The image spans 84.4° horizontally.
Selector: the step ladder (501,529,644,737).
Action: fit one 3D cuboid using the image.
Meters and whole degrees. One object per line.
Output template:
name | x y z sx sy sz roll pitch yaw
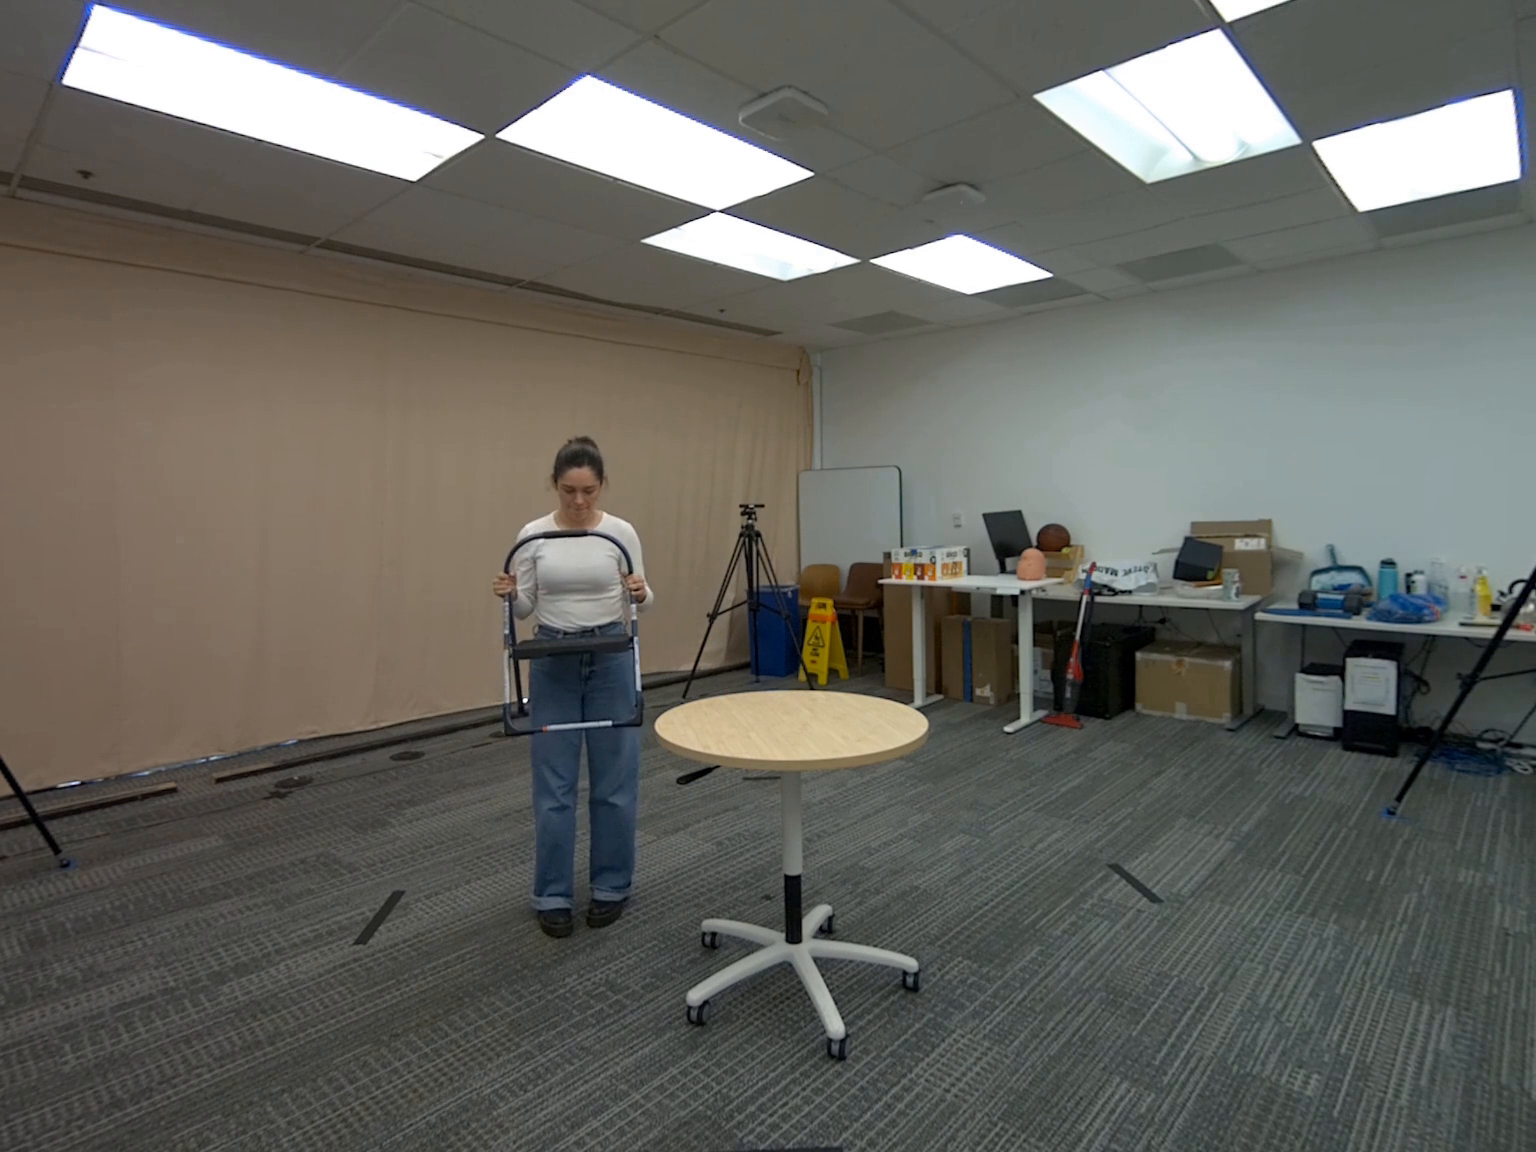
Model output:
step ladder | -0.645 0.156 2.679 0.428 0.605 0.352 -5 2 -7
